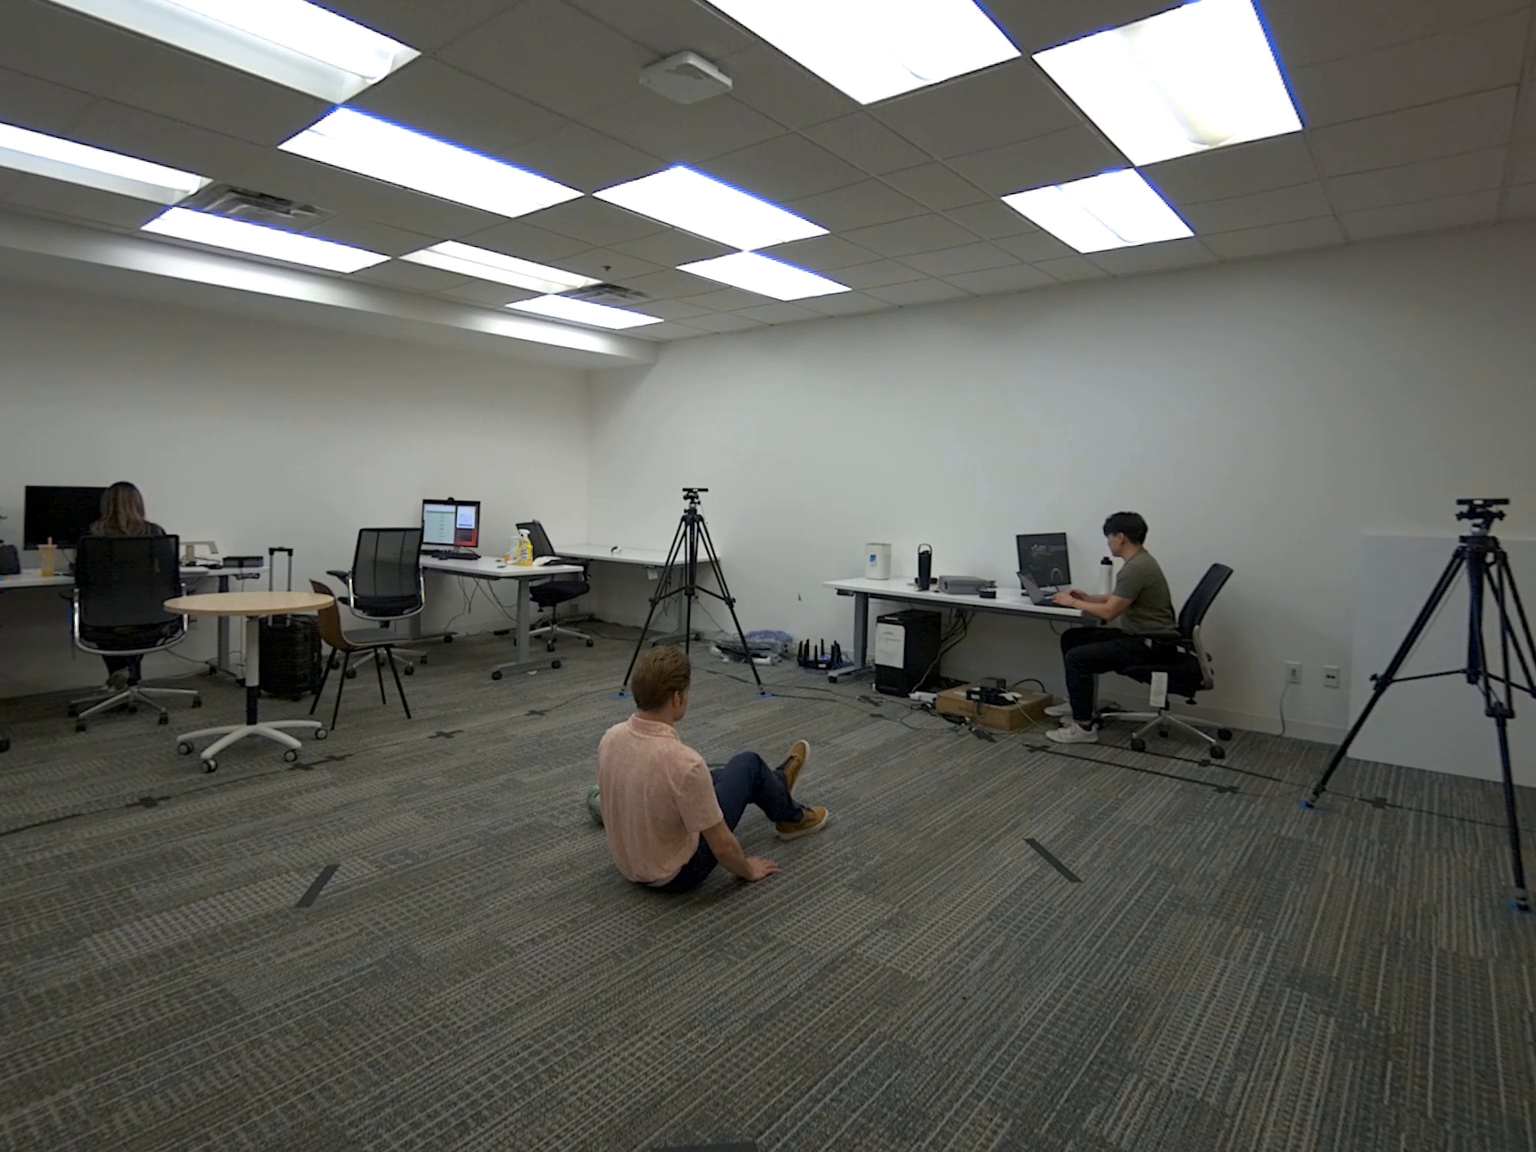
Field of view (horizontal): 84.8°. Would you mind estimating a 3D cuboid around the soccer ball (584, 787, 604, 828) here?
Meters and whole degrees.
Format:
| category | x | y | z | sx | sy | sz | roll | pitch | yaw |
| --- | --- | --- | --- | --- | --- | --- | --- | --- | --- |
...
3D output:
| category | x | y | z | sx | sy | sz | roll | pitch | yaw |
| --- | --- | --- | --- | --- | --- | --- | --- | --- | --- |
| soccer ball | -0.666 | 0.924 | 3.523 | 0.187 | 0.187 | 0.188 | 1 | 4 | -2 |
